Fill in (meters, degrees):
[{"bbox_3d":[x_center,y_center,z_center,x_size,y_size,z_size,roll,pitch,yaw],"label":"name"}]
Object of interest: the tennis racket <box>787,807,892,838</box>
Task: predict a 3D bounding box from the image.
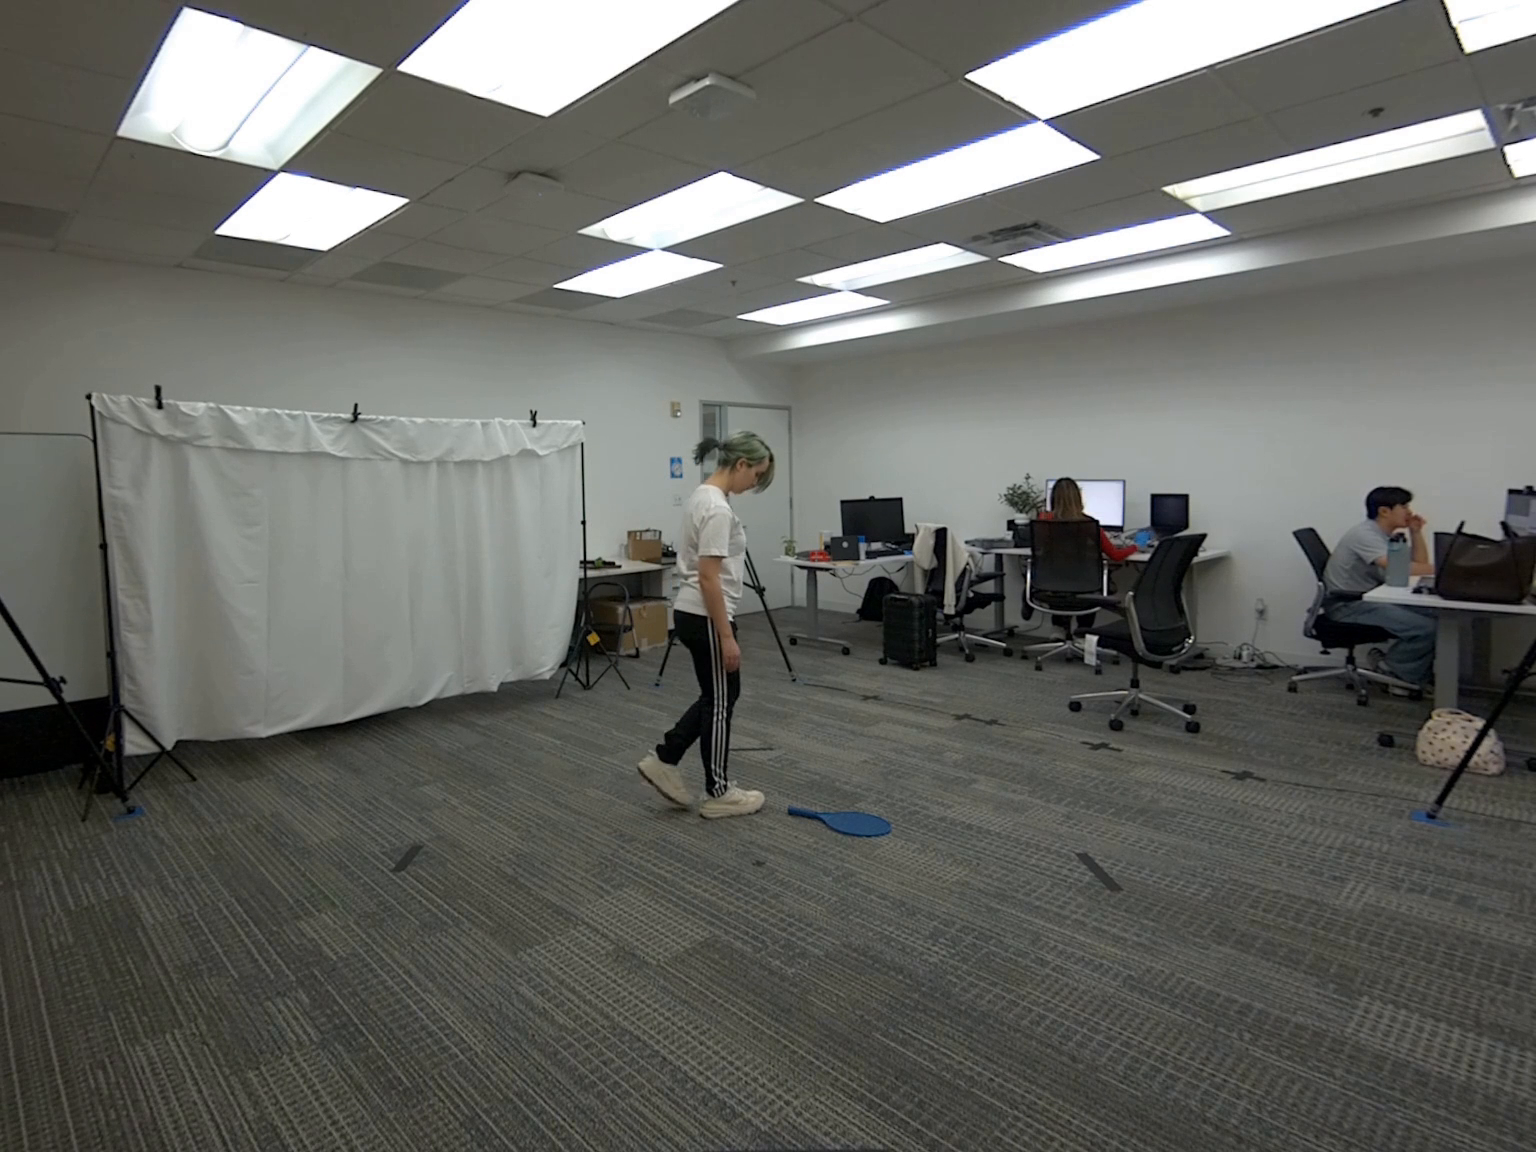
[{"bbox_3d":[0.286,0.989,3.471,0.444,0.031,0.209,4,7,28],"label":"tennis racket"}]
